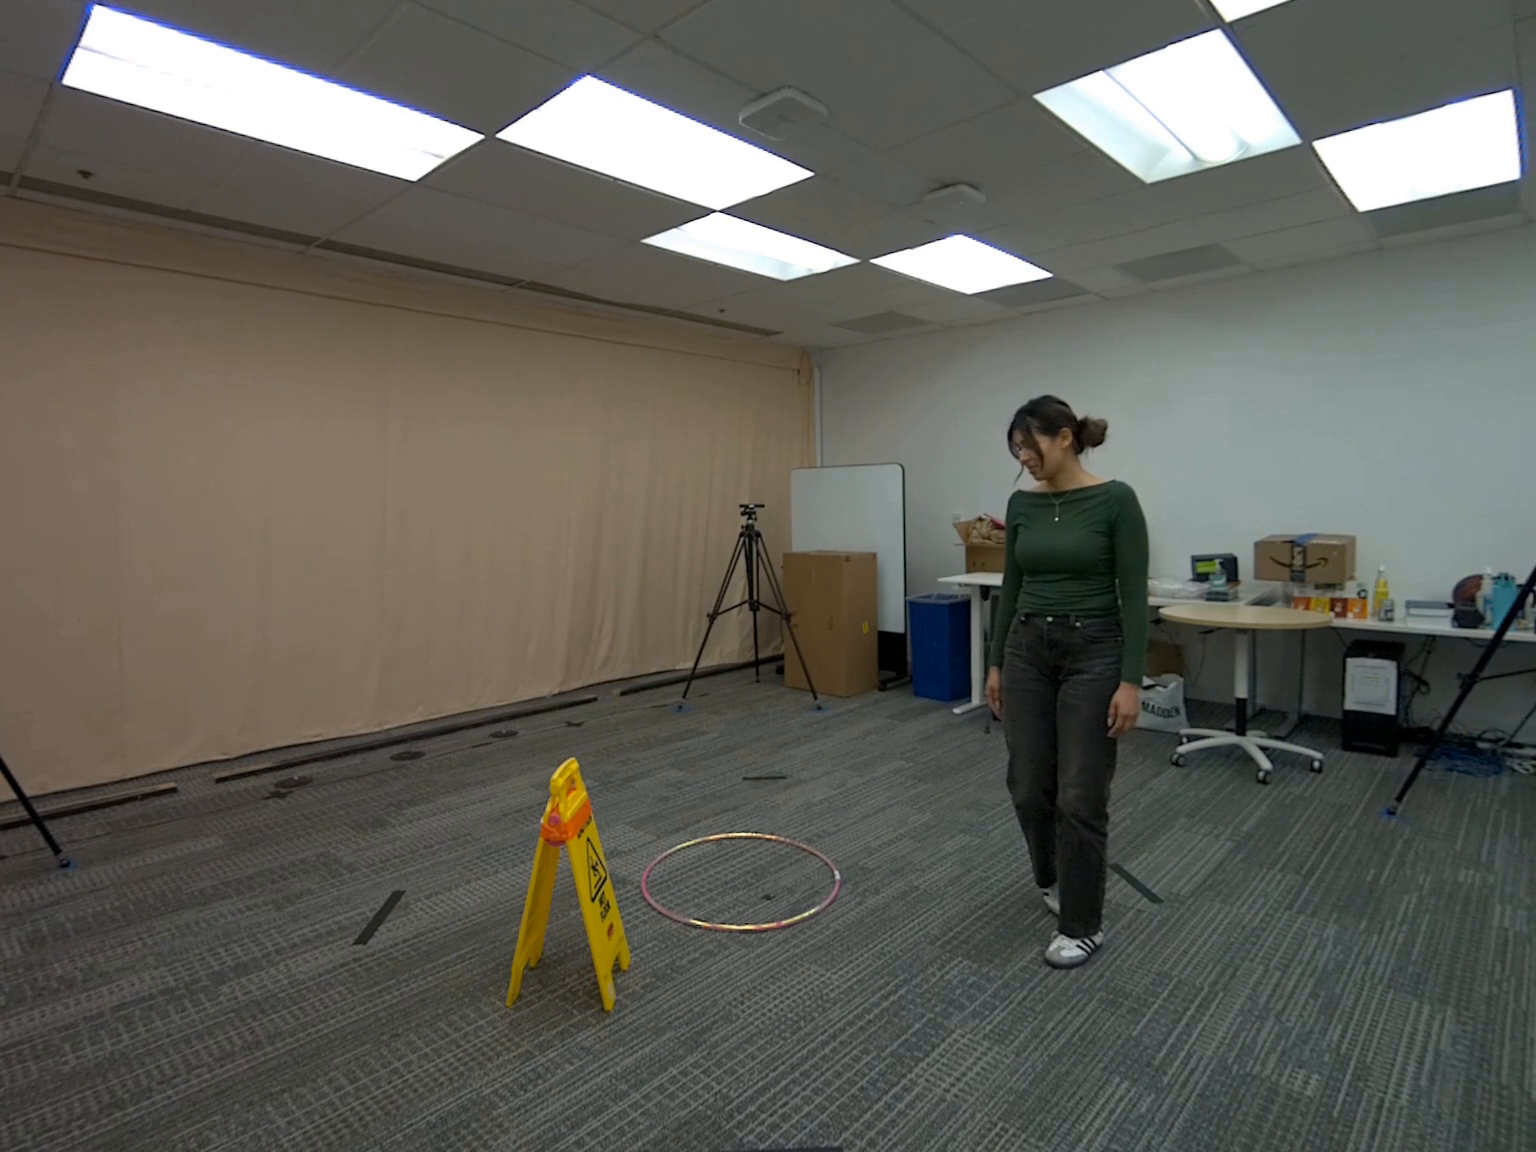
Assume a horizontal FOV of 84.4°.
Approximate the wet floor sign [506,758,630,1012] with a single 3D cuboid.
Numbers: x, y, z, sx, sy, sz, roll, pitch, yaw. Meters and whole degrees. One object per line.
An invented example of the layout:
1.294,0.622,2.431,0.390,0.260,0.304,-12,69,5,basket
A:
-0.582,0.876,2.462,0.291,0.645,0.281,-1,2,5,wet floor sign
